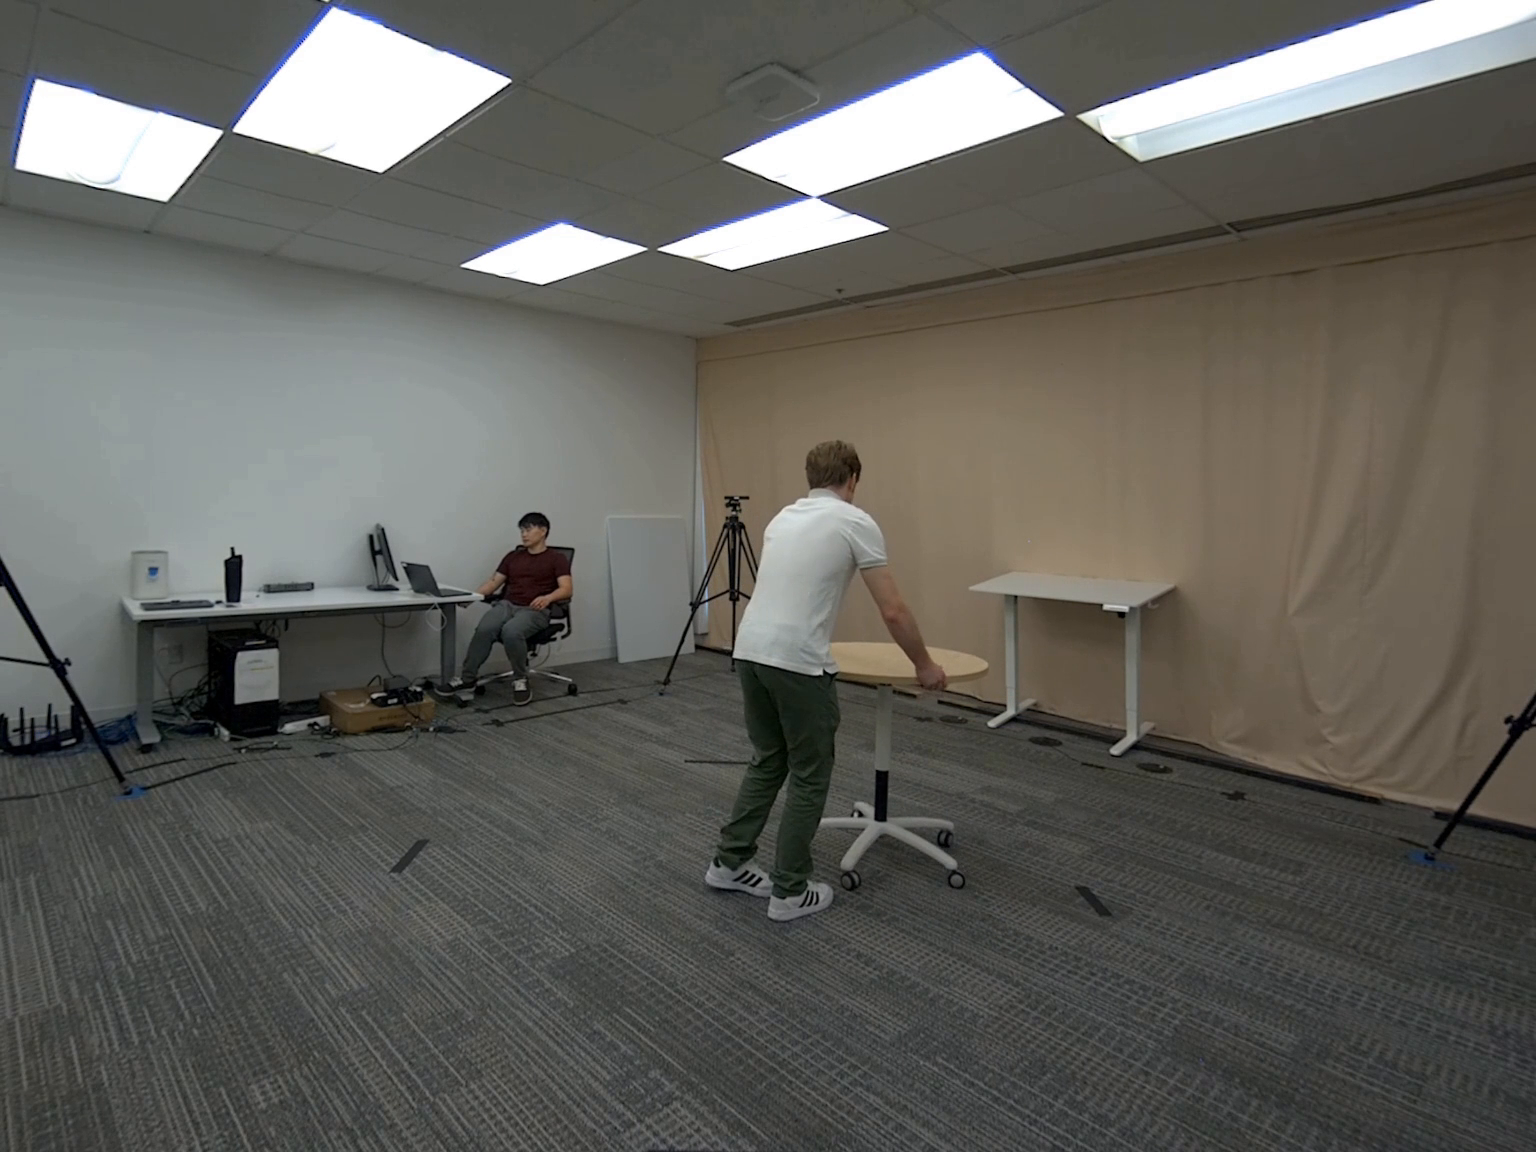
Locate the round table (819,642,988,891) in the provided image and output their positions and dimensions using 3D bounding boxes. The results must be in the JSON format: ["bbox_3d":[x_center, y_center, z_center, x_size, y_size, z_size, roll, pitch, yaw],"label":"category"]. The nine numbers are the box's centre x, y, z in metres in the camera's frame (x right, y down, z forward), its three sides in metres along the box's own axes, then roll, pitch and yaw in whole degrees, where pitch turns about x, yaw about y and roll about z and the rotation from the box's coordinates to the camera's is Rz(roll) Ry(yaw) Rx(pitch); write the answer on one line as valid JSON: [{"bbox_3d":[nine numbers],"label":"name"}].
[{"bbox_3d":[0.439,0.712,3.296,0.763,0.792,0.766,2,4,-1],"label":"round table"}]
